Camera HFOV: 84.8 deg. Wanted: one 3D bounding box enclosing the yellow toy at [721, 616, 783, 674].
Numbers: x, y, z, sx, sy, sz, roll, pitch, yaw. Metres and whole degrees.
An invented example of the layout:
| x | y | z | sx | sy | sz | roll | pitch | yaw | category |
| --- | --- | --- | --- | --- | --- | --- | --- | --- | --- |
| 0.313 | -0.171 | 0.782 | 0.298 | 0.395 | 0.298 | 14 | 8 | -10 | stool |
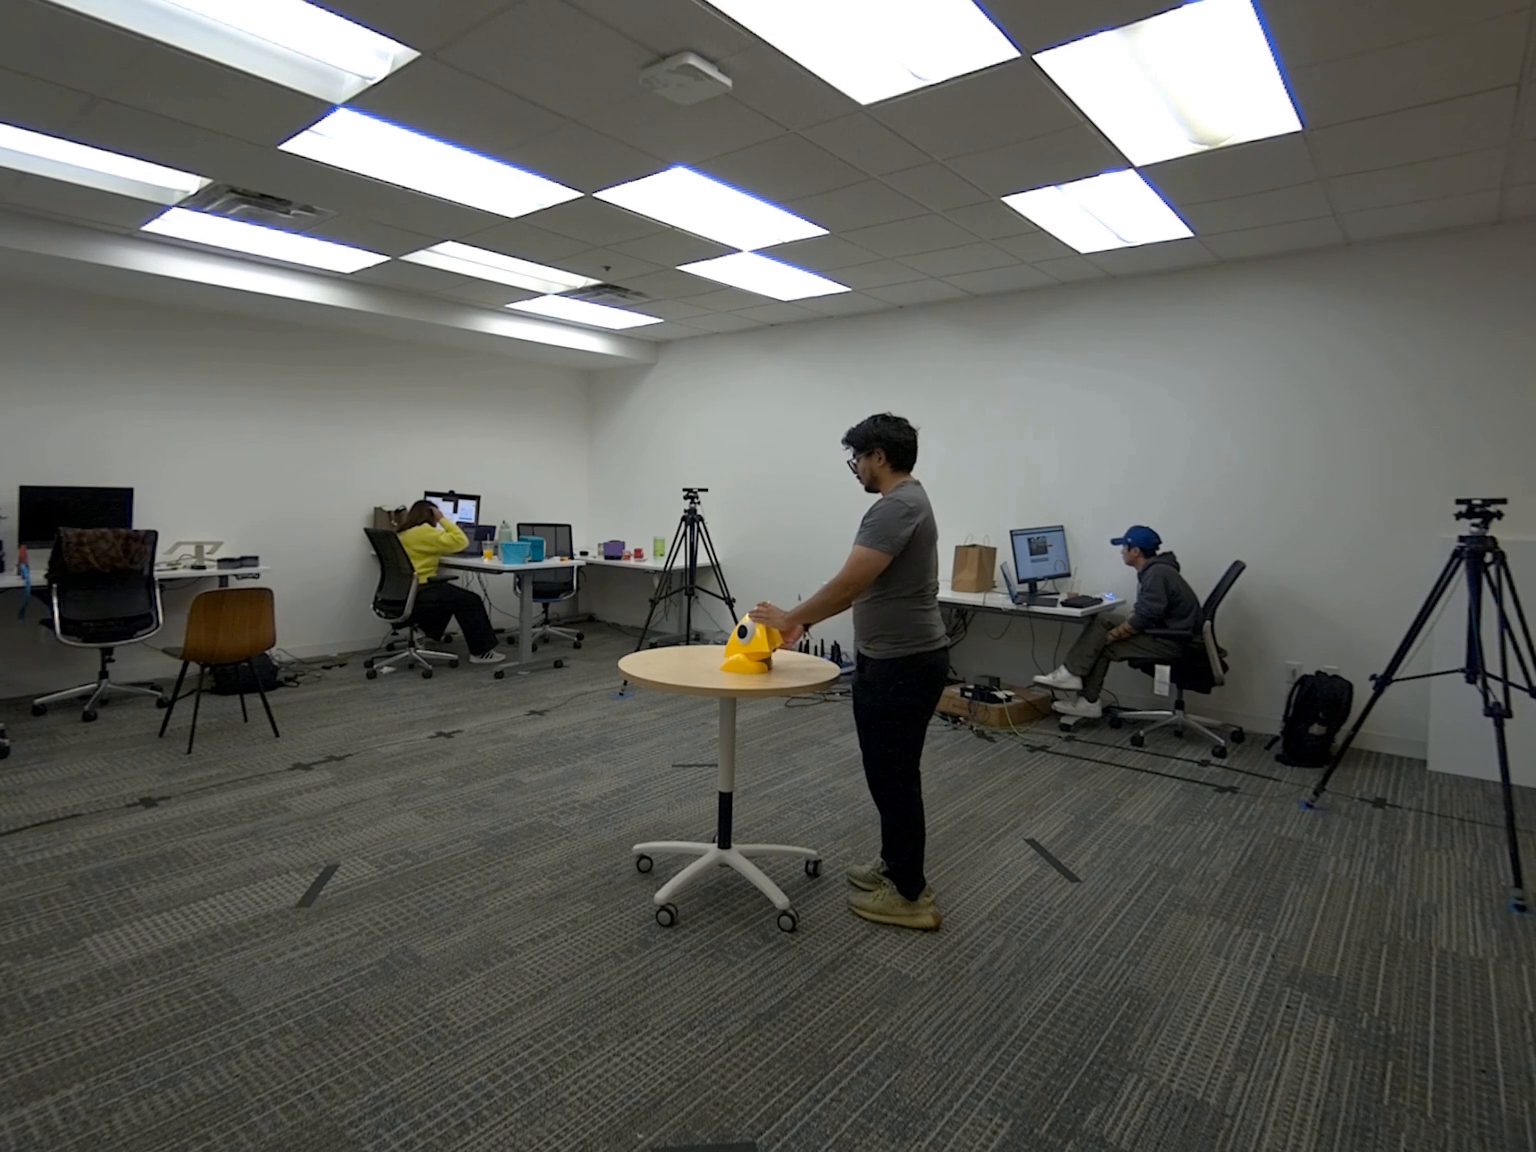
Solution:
| x | y | z | sx | sy | sz | roll | pitch | yaw | category |
| --- | --- | --- | --- | --- | --- | --- | --- | --- | --- |
| -0.065 | 0.197 | 2.901 | 0.196 | 0.230 | 0.201 | 2 | 3 | 16 | yellow toy |
